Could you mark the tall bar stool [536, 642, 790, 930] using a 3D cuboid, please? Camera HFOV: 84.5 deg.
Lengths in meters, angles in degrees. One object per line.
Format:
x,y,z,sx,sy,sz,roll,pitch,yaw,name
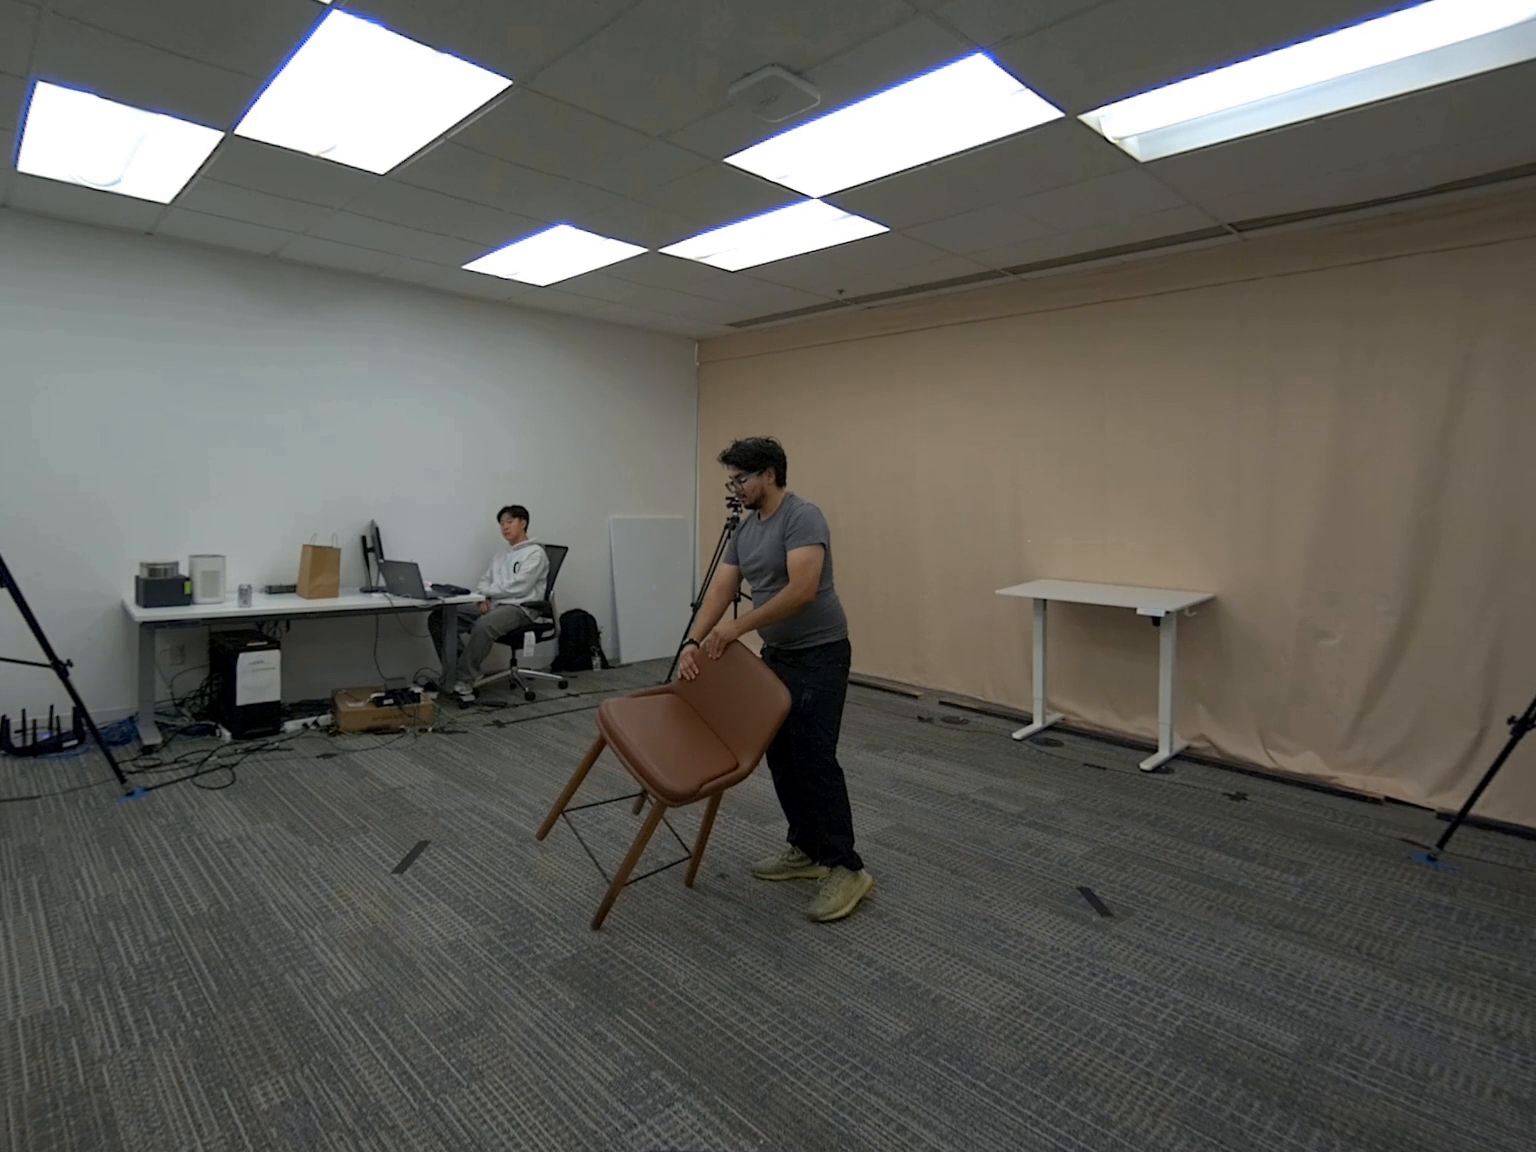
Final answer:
-0.361,0.661,2.804,0.456,0.884,0.470,3,32,-49,tall bar stool
